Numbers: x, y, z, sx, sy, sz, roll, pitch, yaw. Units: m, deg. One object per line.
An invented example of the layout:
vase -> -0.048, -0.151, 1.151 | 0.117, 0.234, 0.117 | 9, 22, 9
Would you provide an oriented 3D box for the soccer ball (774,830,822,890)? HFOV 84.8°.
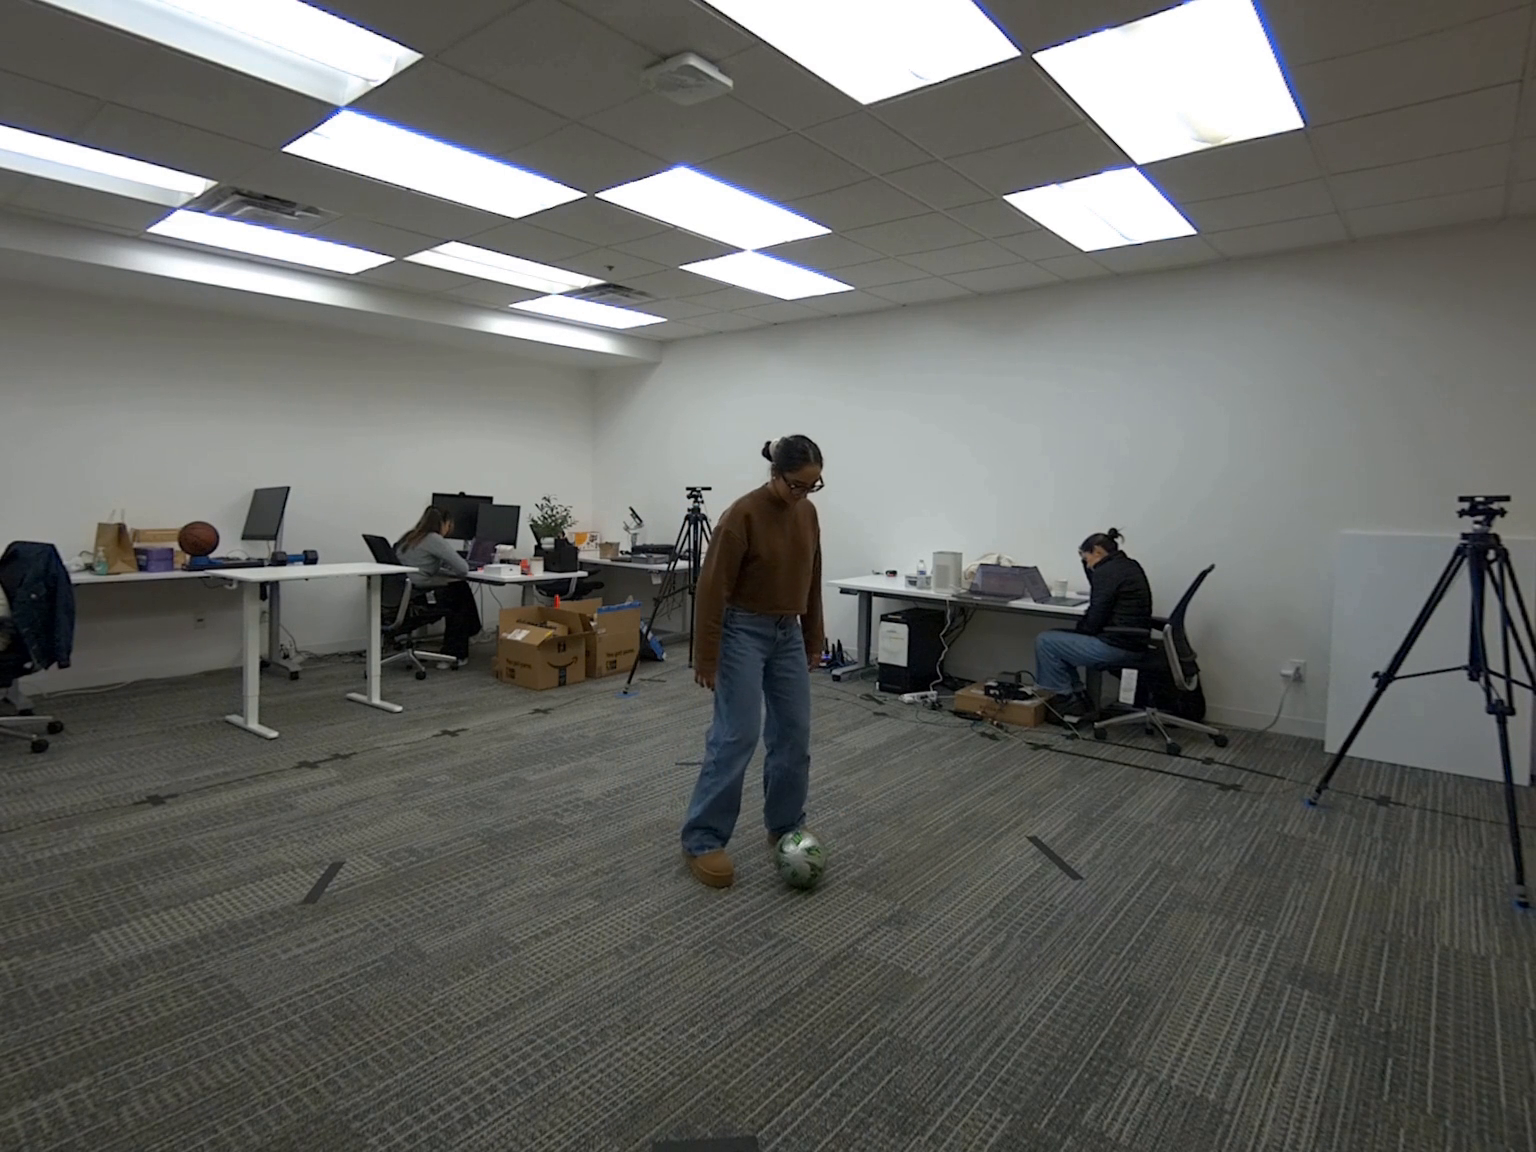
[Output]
soccer ball -> 0.105, 0.993, 2.991 | 0.187, 0.187, 0.188 | 1, 4, -2
